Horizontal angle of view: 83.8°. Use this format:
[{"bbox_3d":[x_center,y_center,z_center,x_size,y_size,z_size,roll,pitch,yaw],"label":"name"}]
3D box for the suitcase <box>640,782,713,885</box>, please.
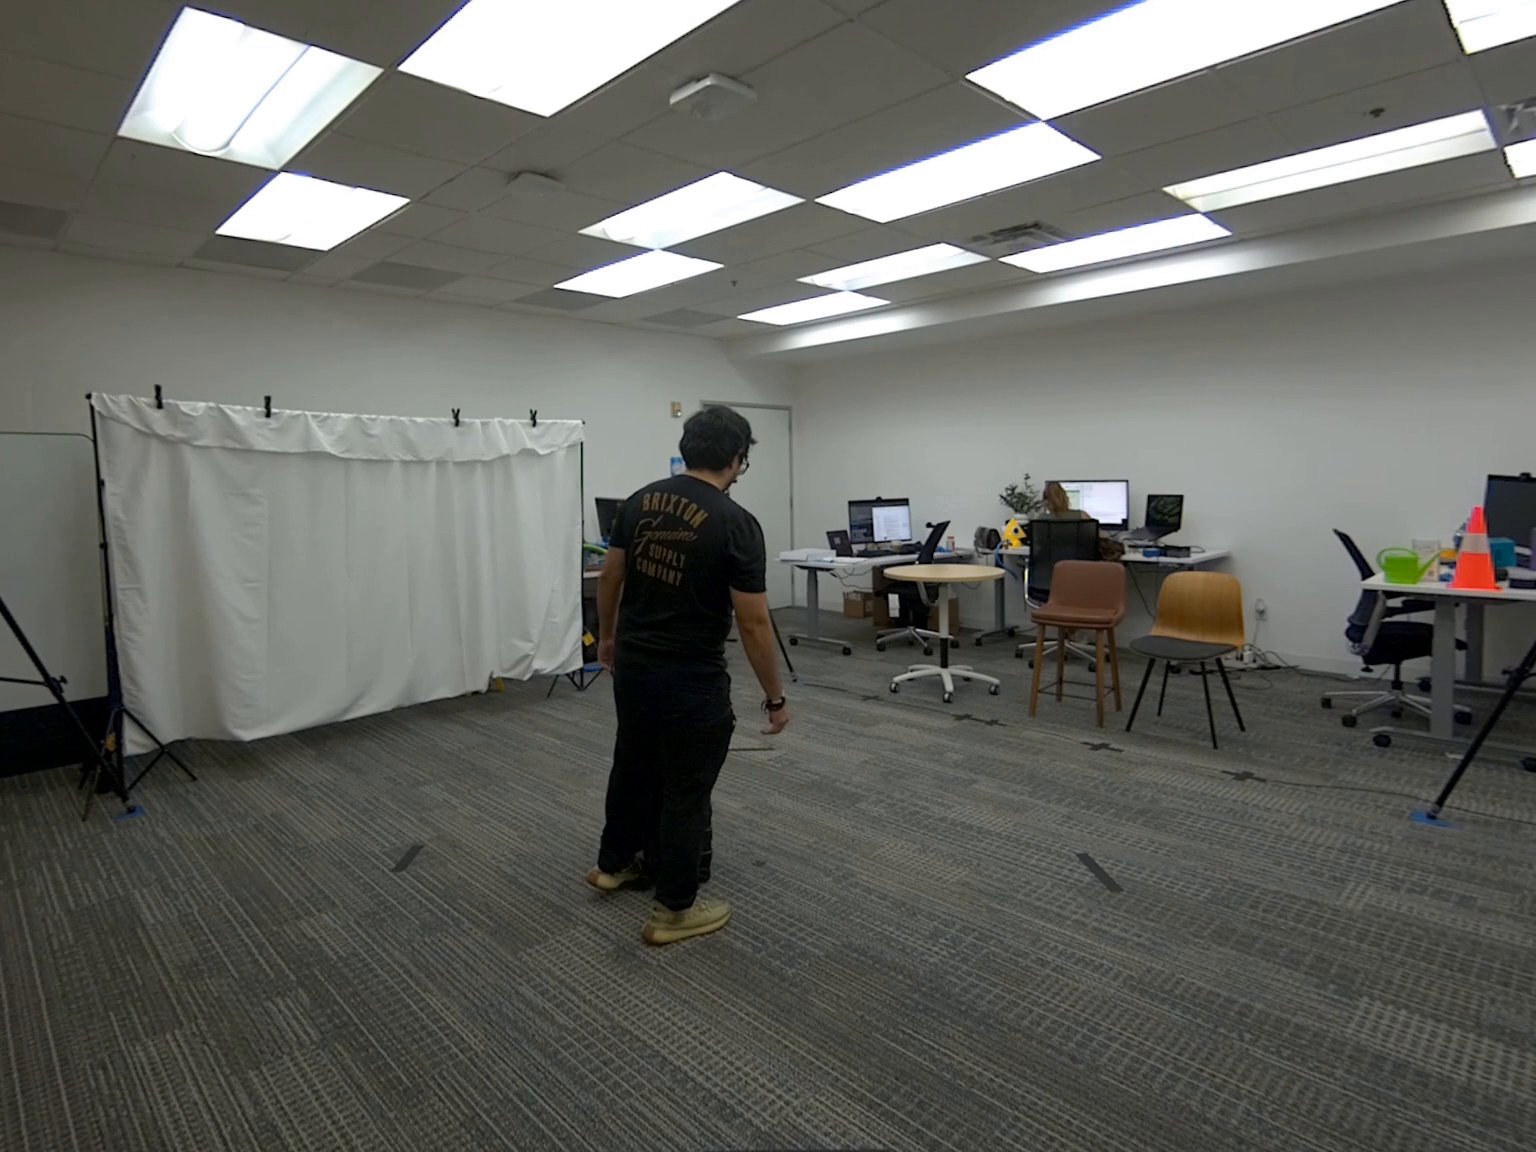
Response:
[{"bbox_3d":[-0.355,0.777,3.083,0.244,0.547,0.383,-2,5,-19],"label":"suitcase"}]
